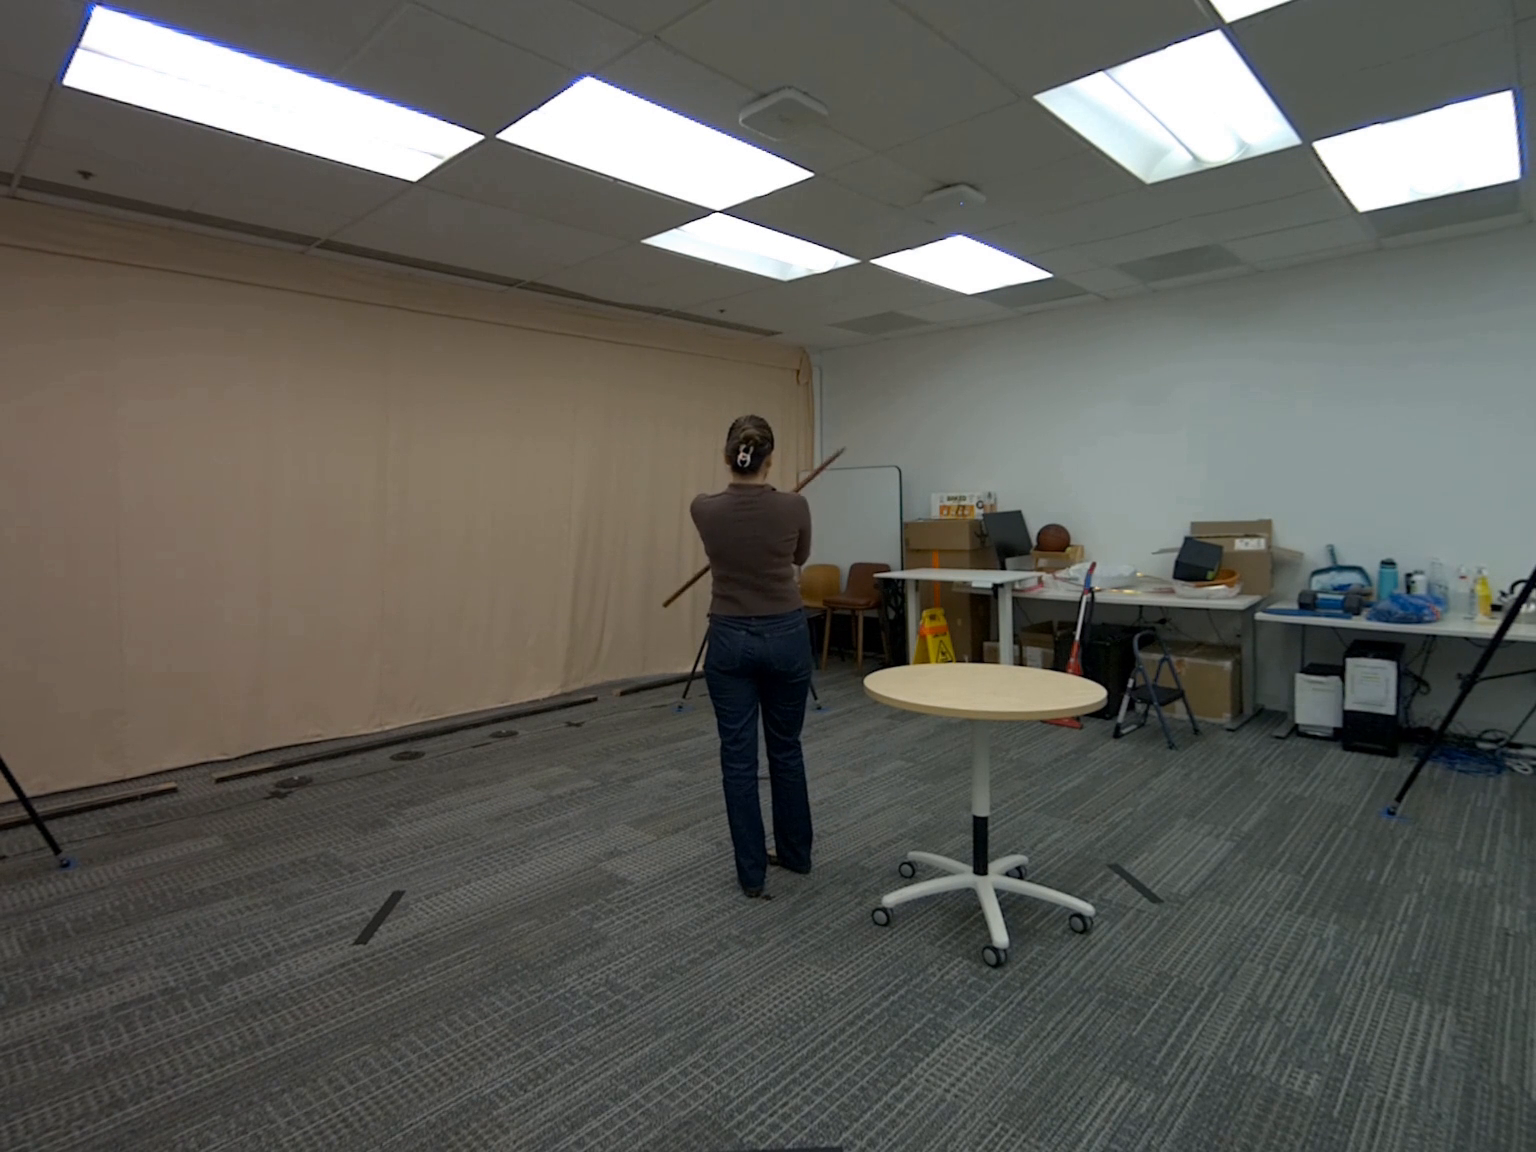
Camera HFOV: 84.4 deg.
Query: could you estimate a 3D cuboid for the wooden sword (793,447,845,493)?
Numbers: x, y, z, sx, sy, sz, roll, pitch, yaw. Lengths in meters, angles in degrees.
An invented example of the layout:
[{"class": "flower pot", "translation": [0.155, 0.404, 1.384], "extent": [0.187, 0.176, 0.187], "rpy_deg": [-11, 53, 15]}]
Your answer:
[{"class": "wooden sword", "translation": [-0.089, -0.199, 3.551], "extent": [1.029, 0.023, 0.052], "rpy_deg": [-42, 21, 11]}]
